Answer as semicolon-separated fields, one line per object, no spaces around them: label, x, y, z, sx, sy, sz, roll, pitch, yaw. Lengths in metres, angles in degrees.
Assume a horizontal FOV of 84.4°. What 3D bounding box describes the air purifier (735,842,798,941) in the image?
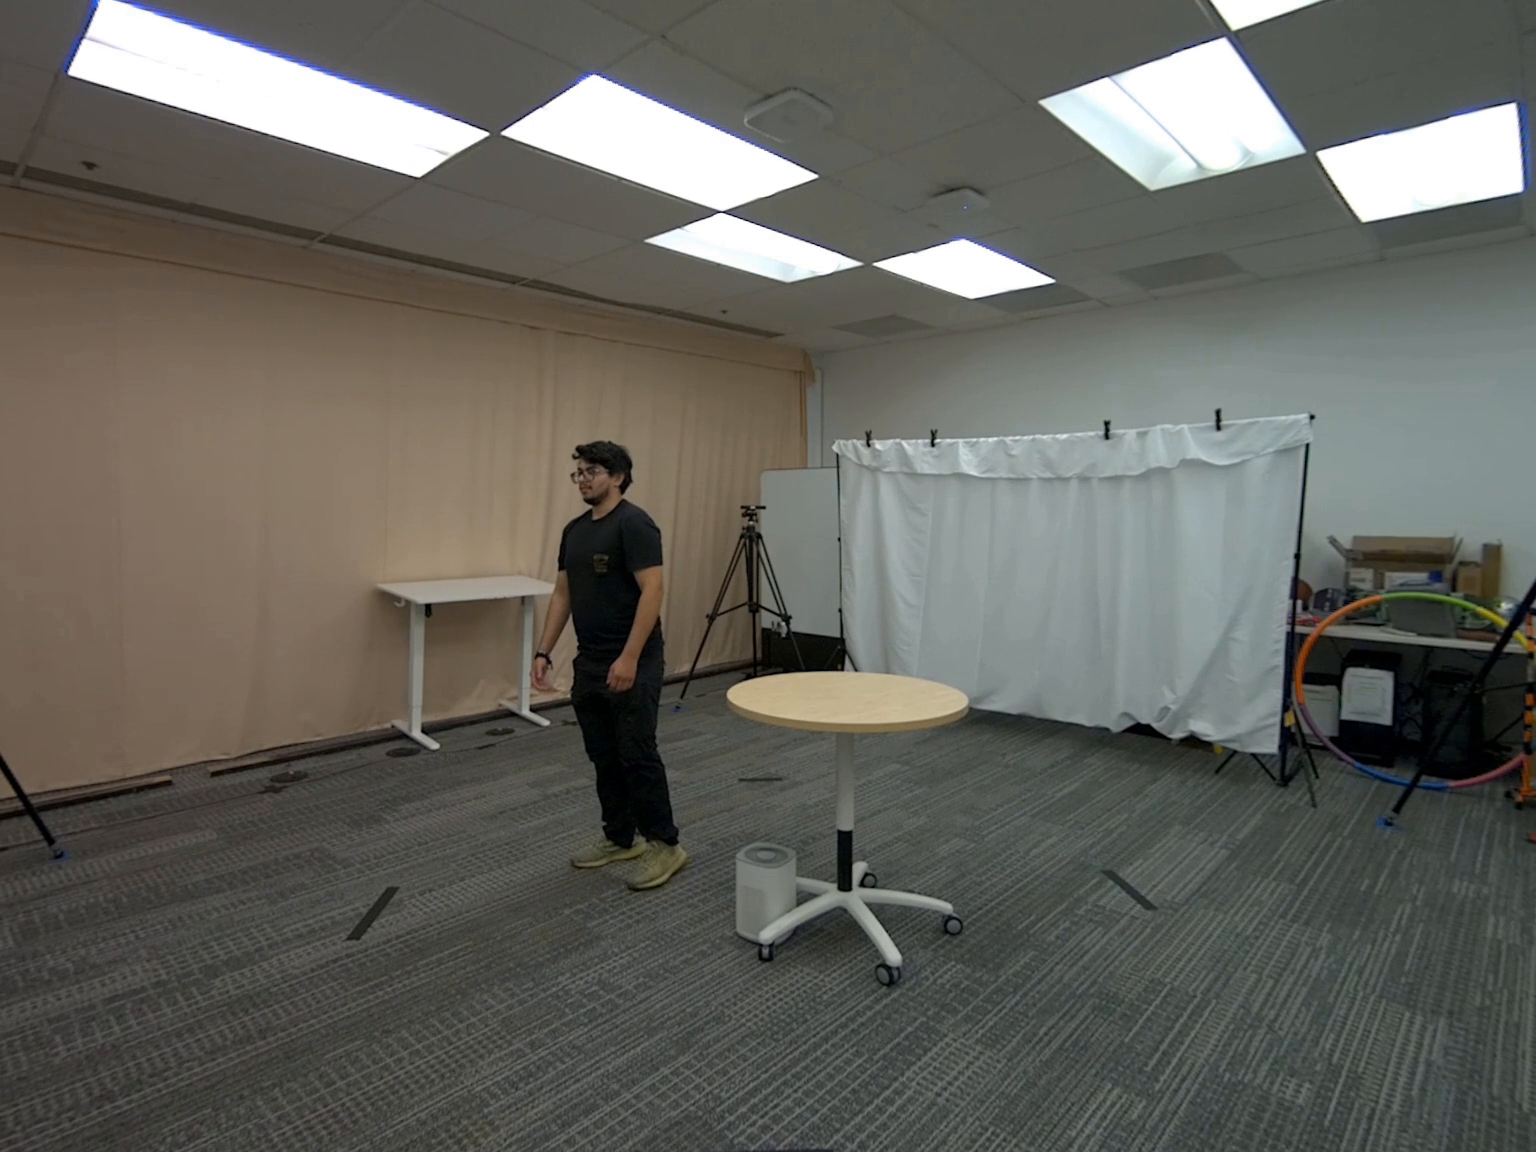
air purifier;-0.006;1.032;2.729;0.177;0.265;0.166;2;4;32
